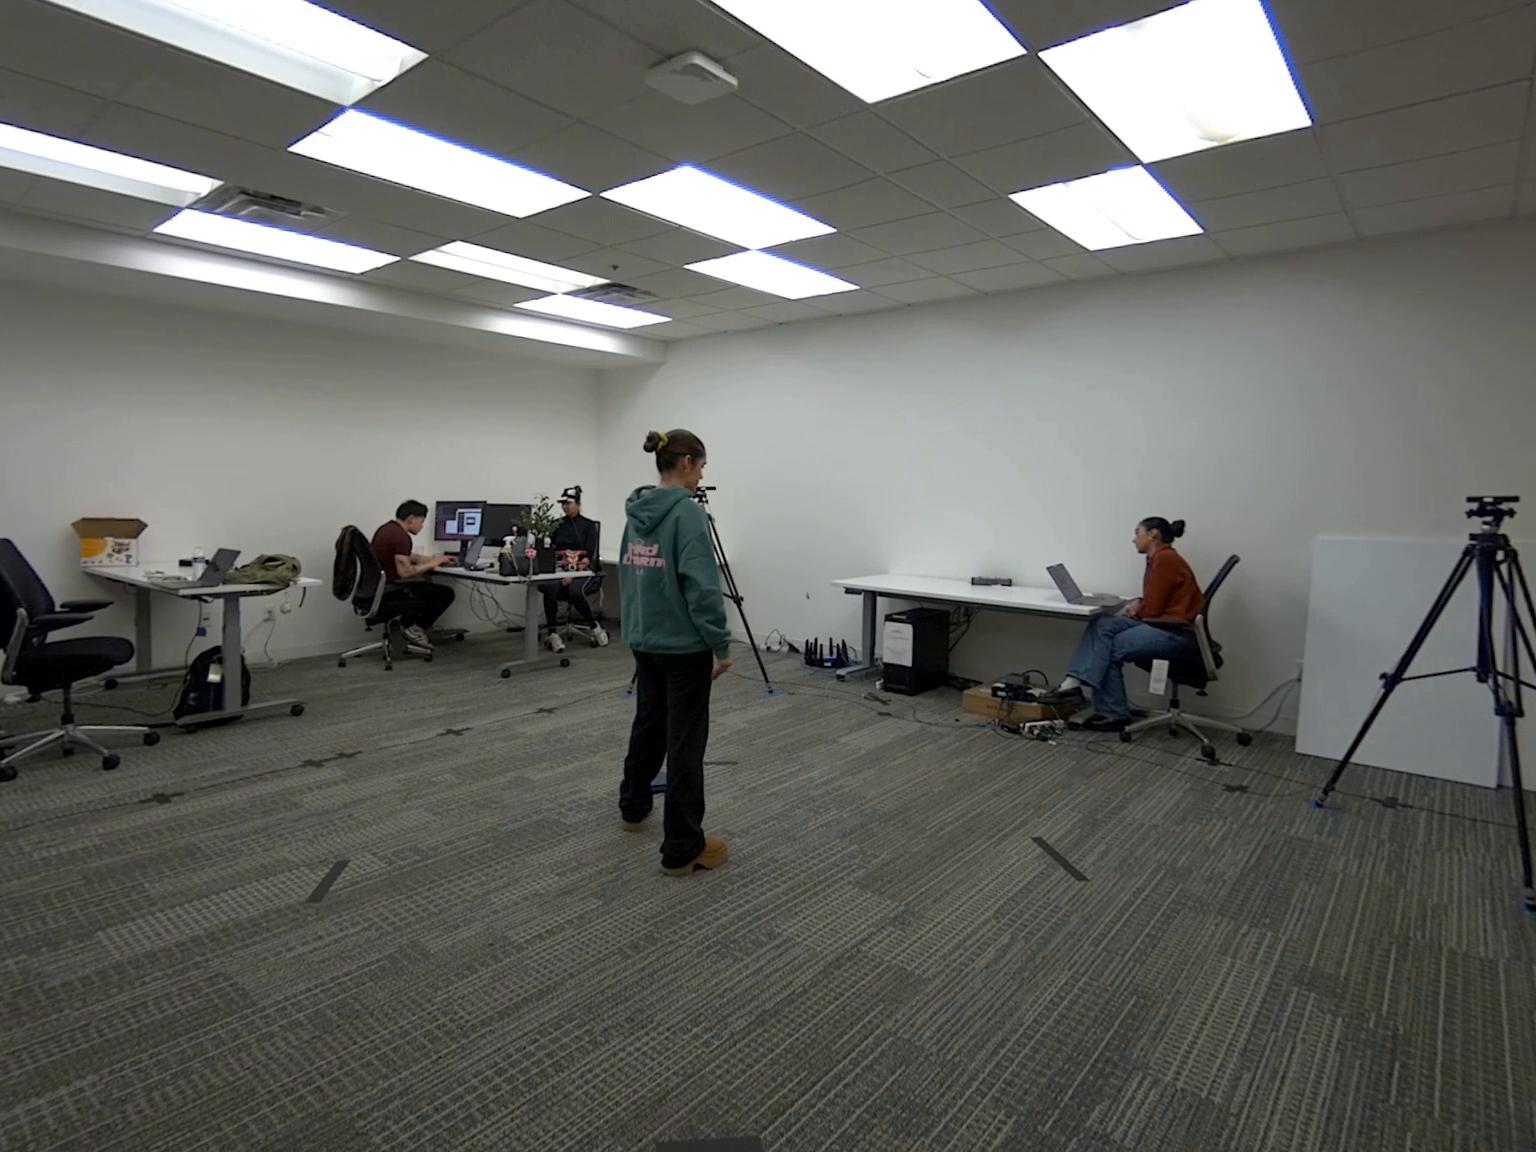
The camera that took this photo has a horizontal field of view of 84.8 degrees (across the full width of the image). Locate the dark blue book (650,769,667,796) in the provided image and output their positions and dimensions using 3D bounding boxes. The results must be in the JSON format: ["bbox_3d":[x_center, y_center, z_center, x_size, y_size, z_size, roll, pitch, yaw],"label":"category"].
[{"bbox_3d":[-0.548,0.950,3.931,0.241,0.045,0.166,-1,5,-16],"label":"dark blue book"}]
